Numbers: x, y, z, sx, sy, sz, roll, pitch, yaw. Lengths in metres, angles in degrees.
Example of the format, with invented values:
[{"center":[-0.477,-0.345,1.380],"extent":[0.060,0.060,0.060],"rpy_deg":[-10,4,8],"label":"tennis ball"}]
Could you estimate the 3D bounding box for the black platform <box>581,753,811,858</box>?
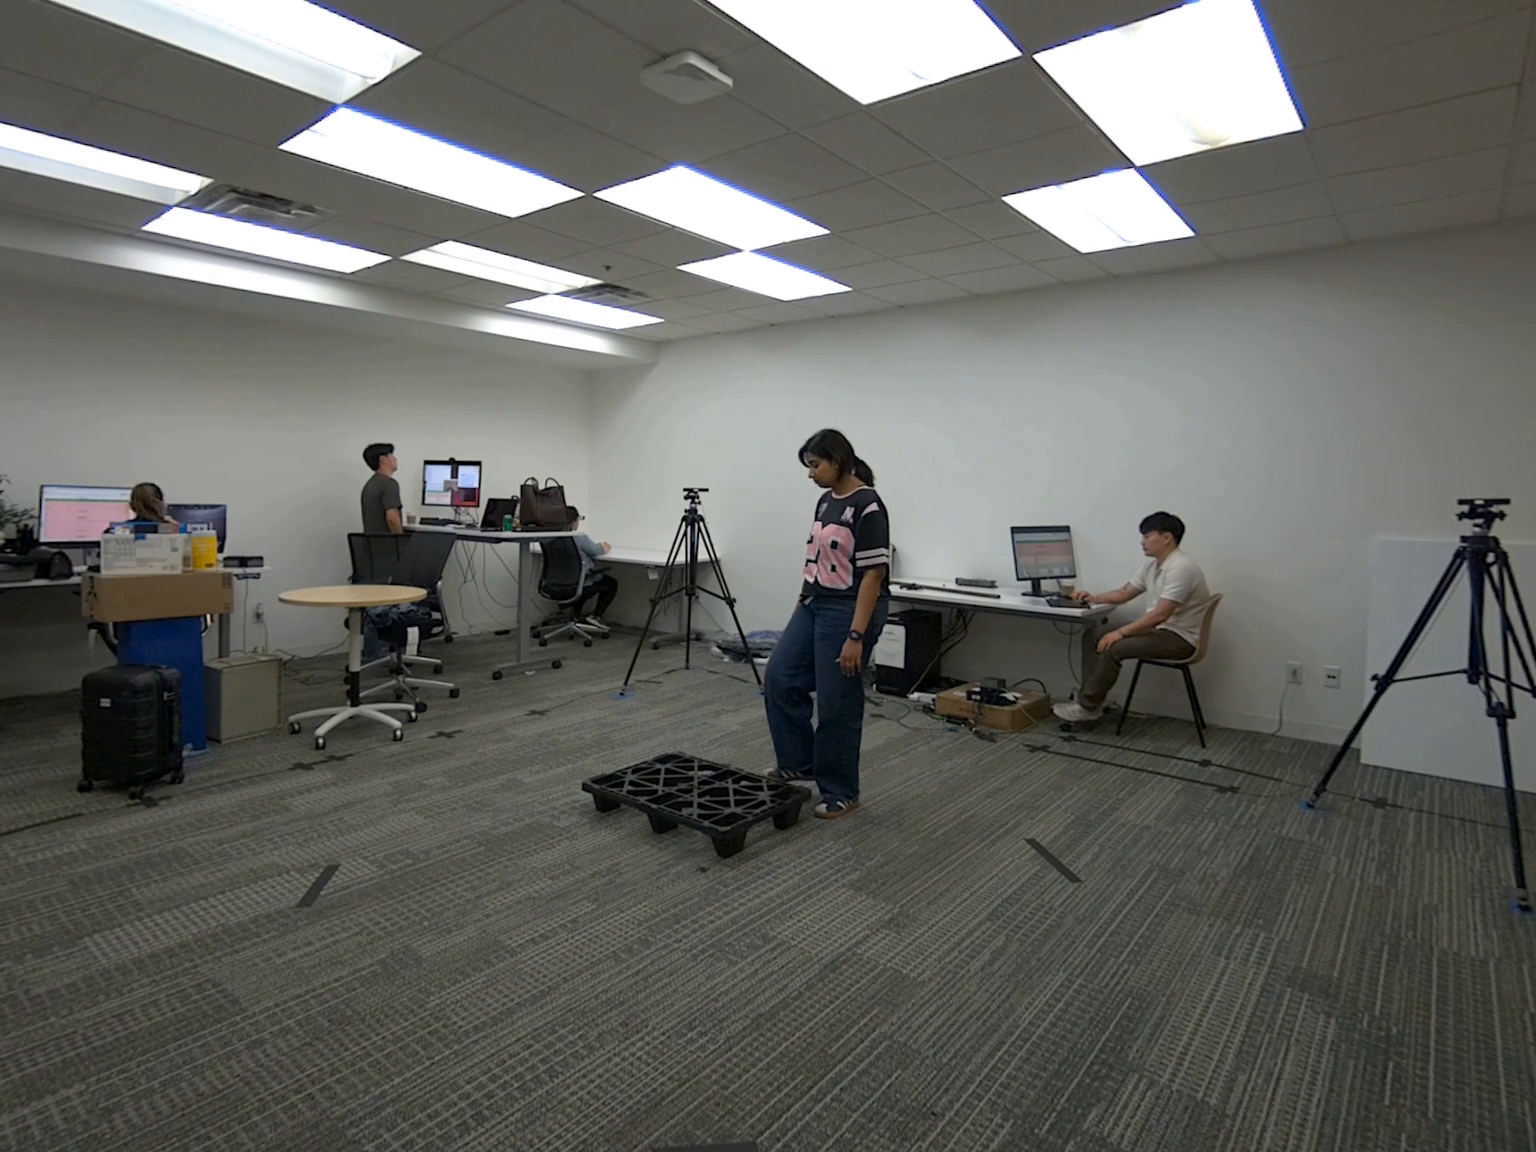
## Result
[{"center":[-0.319,0.952,3.600],"extent":[0.832,0.143,0.588],"rpy_deg":[5,7,38],"label":"black platform"}]
